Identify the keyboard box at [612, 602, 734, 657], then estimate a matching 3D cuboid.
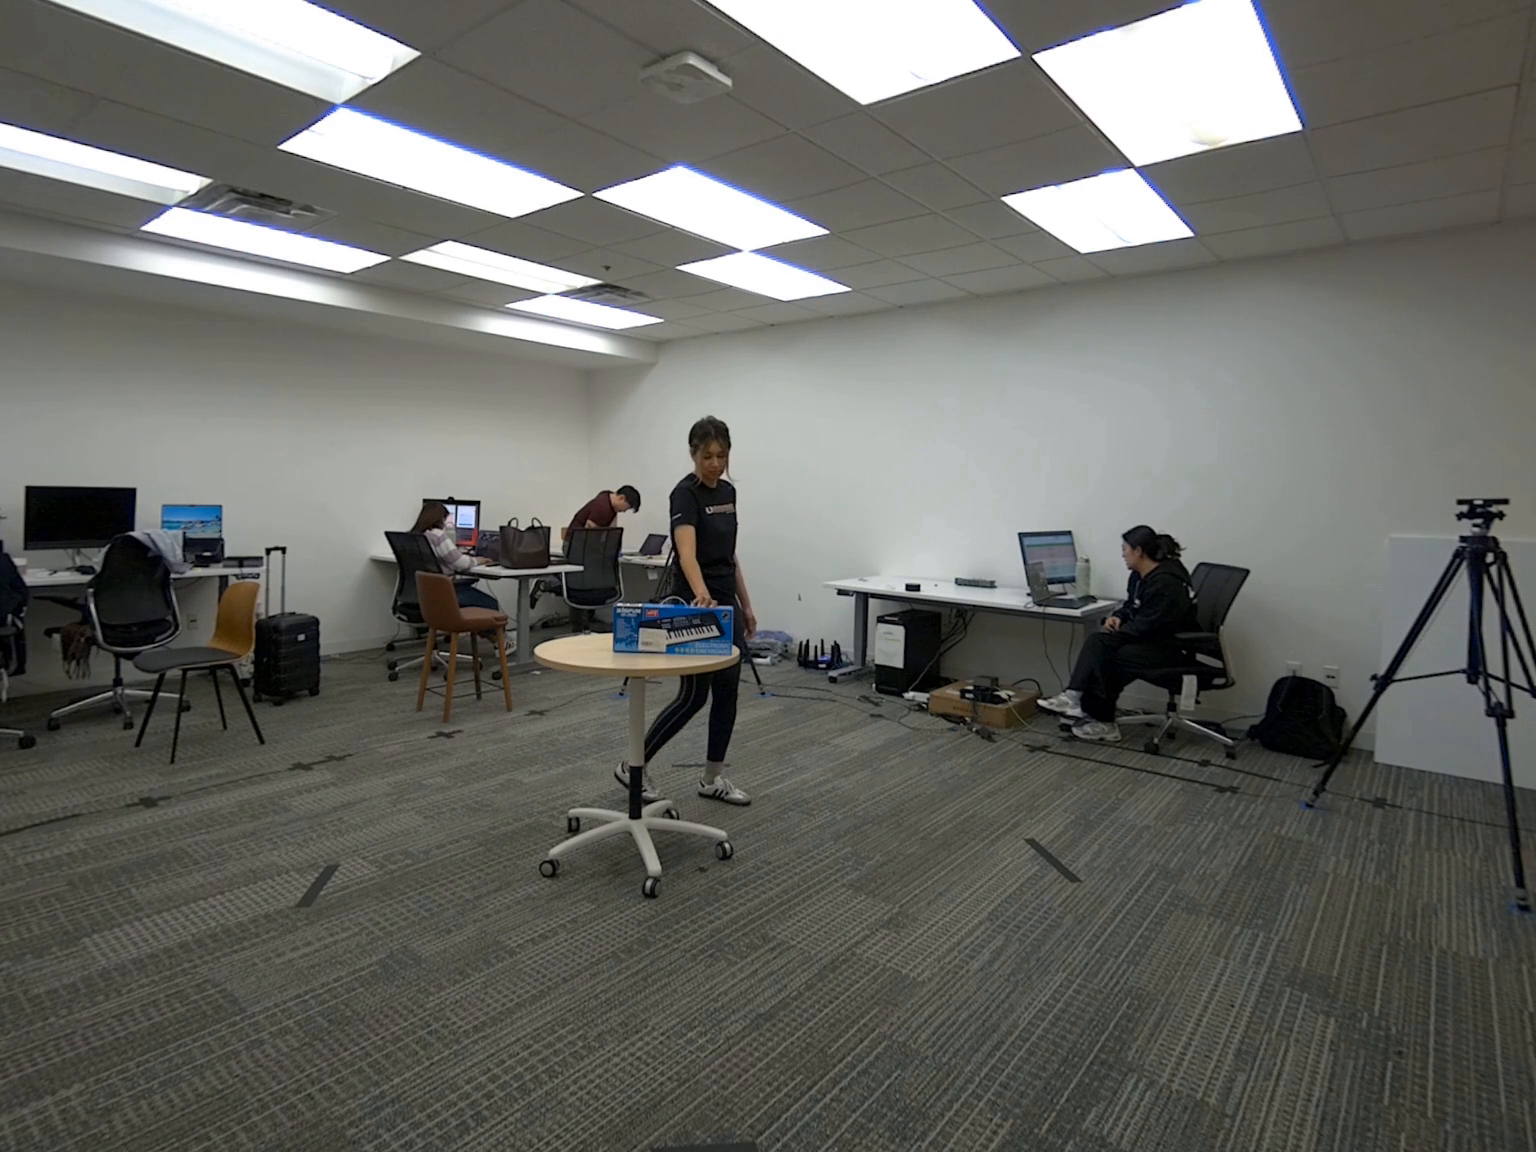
[{"bbox_3d":[-0.361,0.193,3.121,0.437,0.175,0.059,1,4,0],"label":"keyboard box"}]
